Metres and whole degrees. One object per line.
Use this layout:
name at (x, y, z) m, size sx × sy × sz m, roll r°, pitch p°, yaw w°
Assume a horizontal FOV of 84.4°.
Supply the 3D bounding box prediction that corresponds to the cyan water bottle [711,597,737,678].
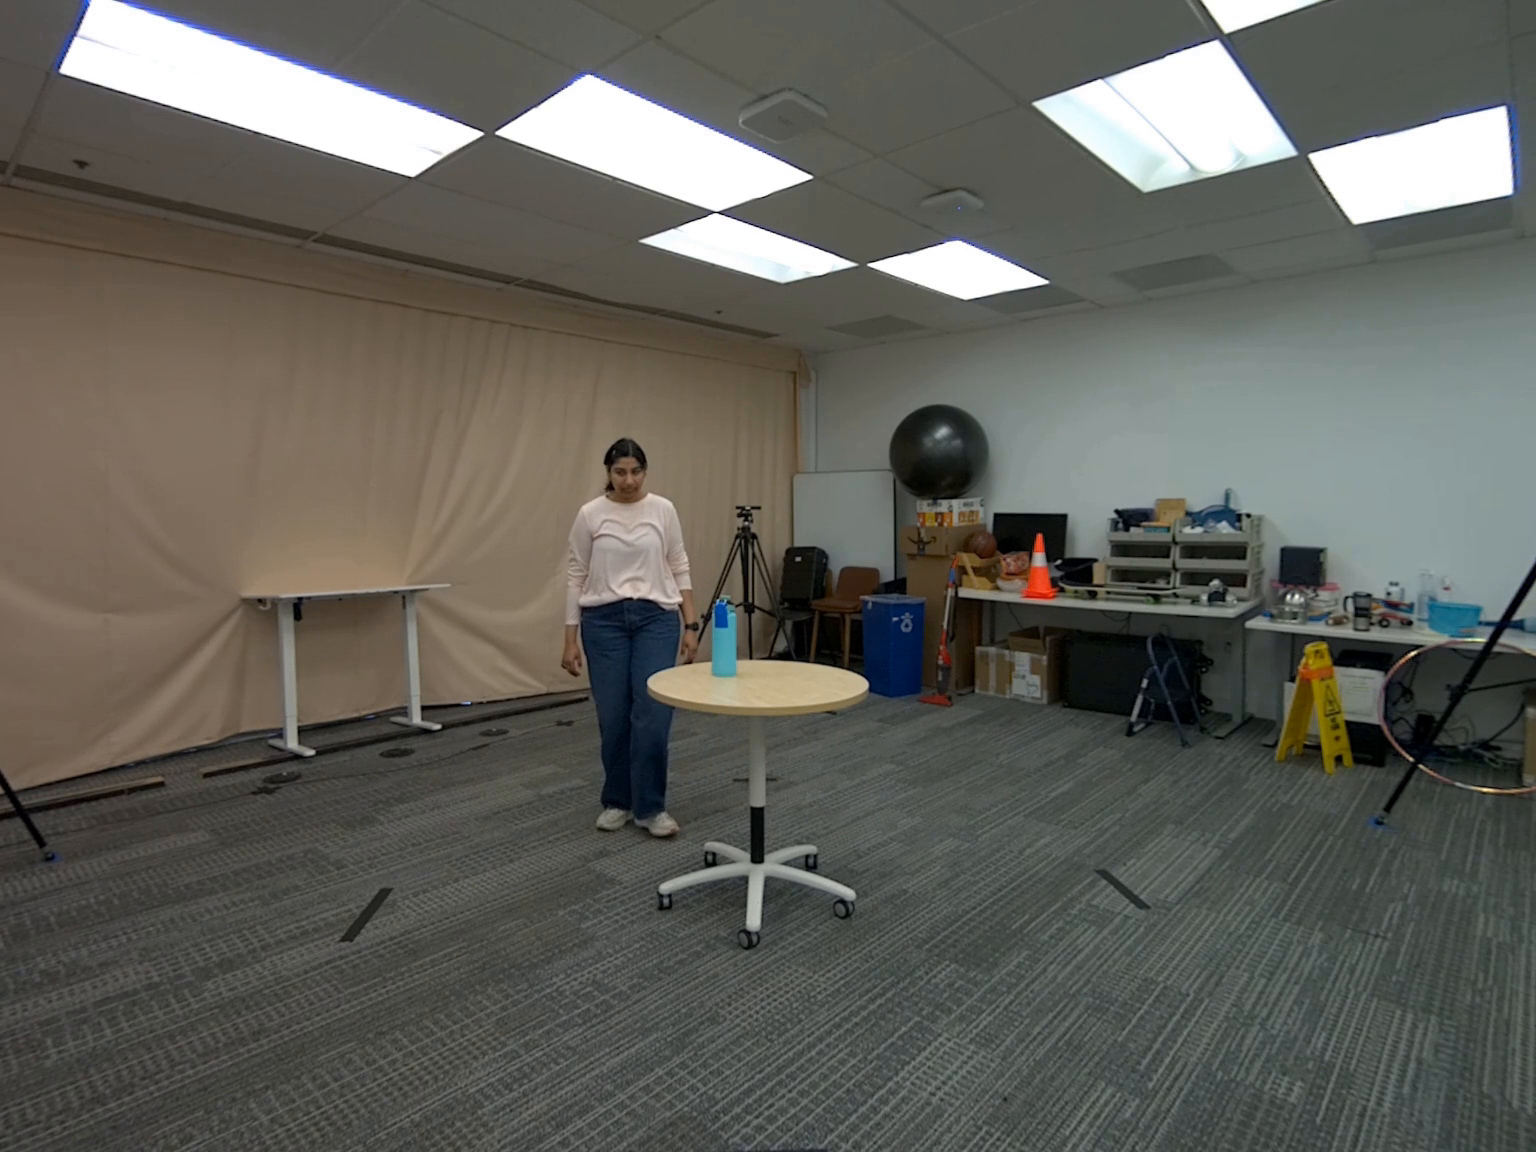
cyan water bottle at (-0.153, 0.215, 3.027) m, size 0.092 × 0.283 × 0.092 m, roll 0°, pitch 4°, yaw -2°
